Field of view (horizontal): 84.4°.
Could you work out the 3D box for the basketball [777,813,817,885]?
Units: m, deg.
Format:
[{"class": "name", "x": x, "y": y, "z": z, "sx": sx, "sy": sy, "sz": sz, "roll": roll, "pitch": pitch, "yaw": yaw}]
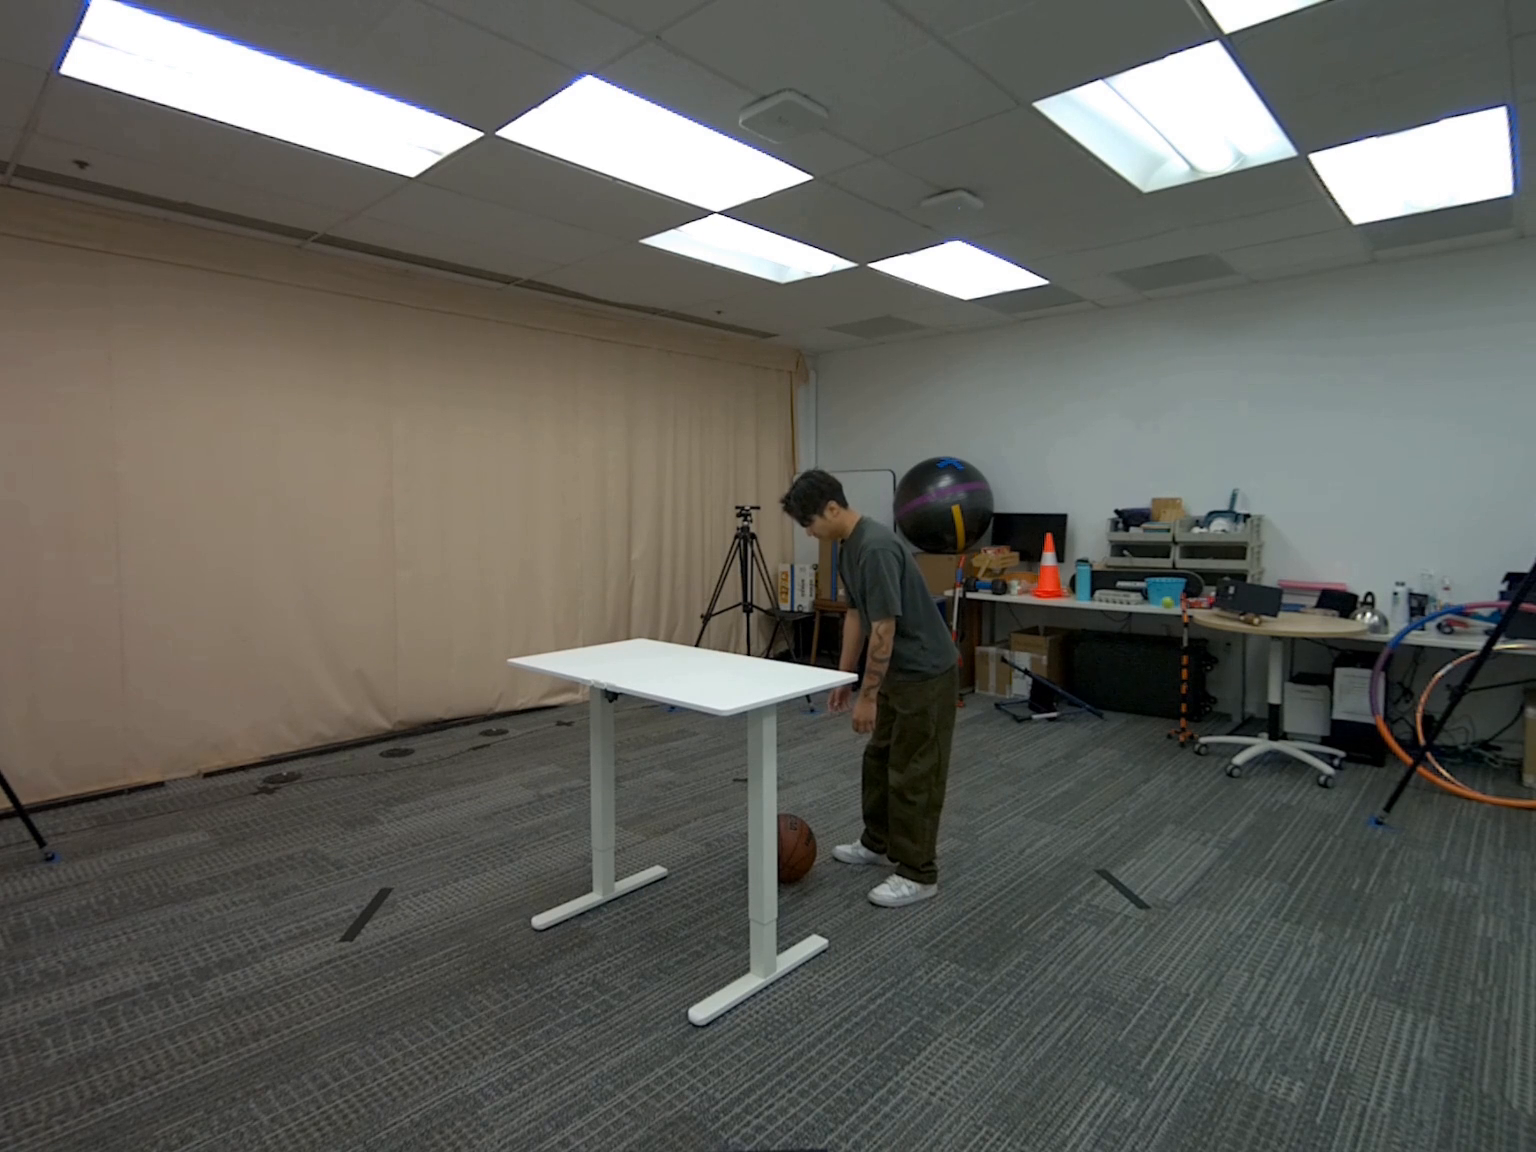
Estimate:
[{"class": "basketball", "x": 0.066, "y": 1.012, "z": 3.140, "sx": 0.236, "sy": 0.235, "sz": 0.237, "roll": 0, "pitch": 4, "yaw": -2}]
